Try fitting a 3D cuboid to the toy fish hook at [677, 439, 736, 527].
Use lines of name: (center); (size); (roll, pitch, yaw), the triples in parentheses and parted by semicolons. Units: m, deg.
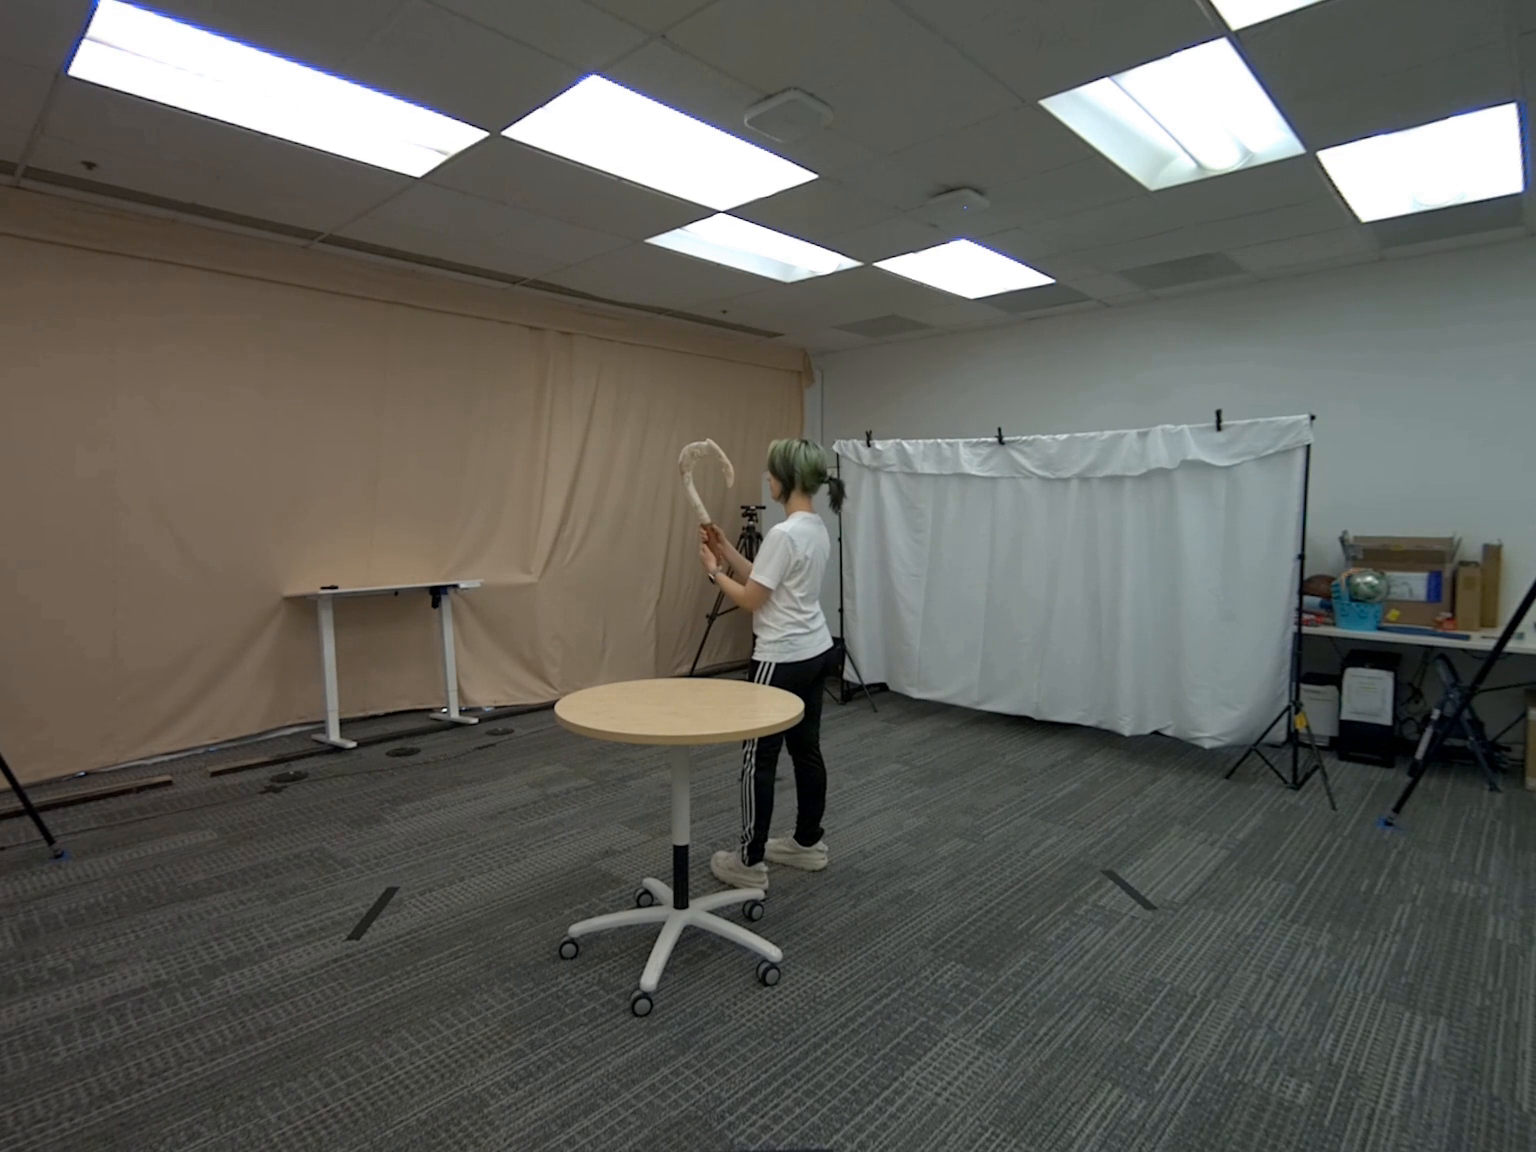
toy fish hook: (-0.206, -0.260, 3.219); (0.230, 0.504, 0.047); (-10, 7, 30)
